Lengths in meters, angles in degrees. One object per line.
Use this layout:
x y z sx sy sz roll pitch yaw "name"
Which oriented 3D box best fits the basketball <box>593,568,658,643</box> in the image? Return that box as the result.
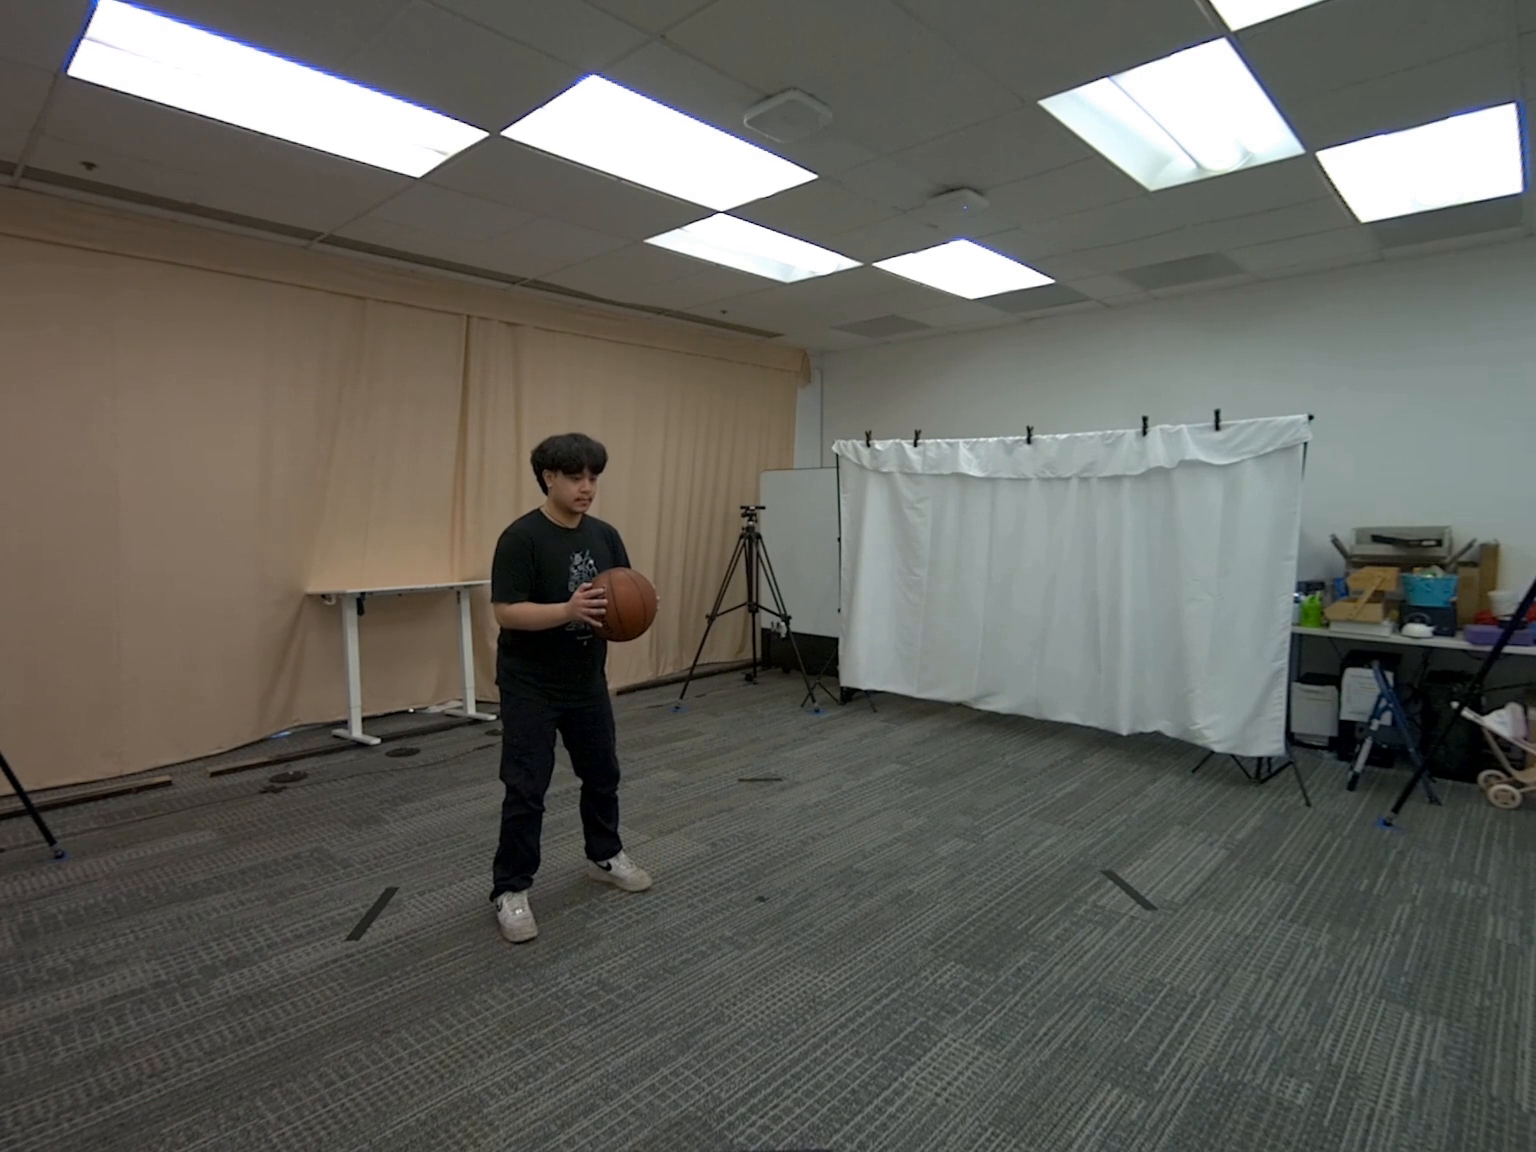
-0.474 0.095 2.693 0.236 0.235 0.237 0 4 -2 "basketball"
